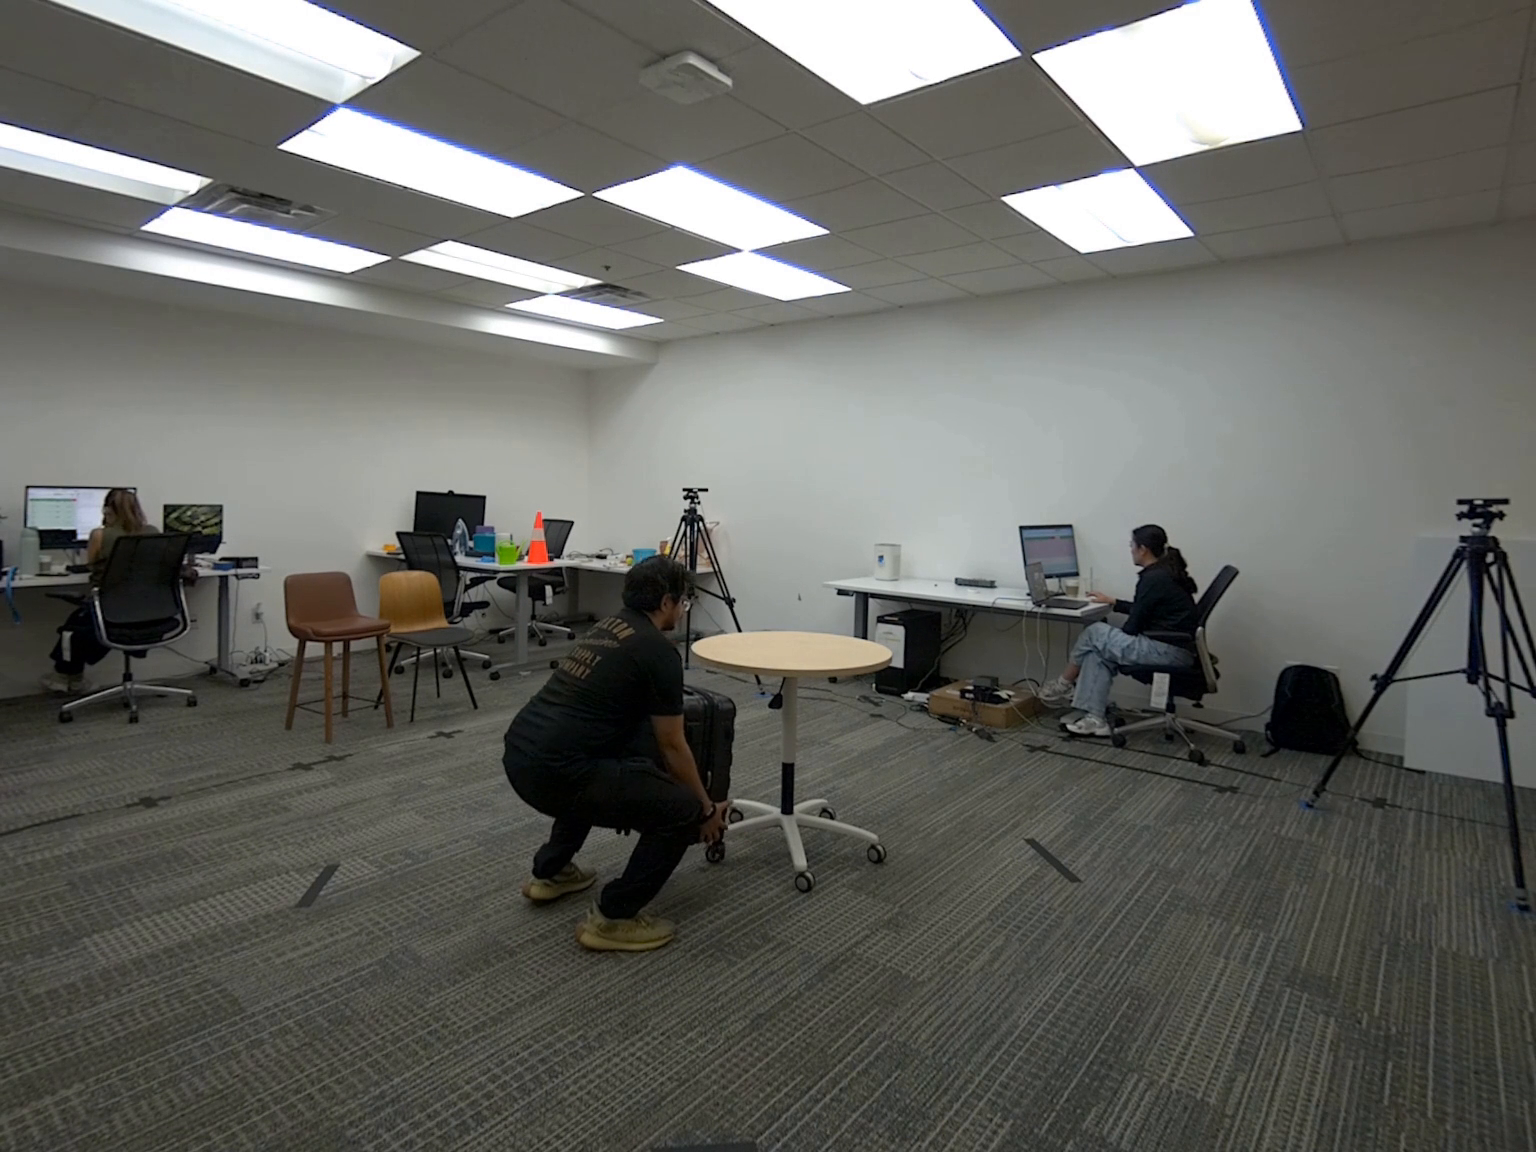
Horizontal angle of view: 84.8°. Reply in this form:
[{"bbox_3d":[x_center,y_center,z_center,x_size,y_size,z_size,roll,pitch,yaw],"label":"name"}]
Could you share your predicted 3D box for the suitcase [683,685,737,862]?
[{"bbox_3d":[-0.320,0.648,2.927,0.240,0.550,0.387,7,-1,-35],"label":"suitcase"}]
